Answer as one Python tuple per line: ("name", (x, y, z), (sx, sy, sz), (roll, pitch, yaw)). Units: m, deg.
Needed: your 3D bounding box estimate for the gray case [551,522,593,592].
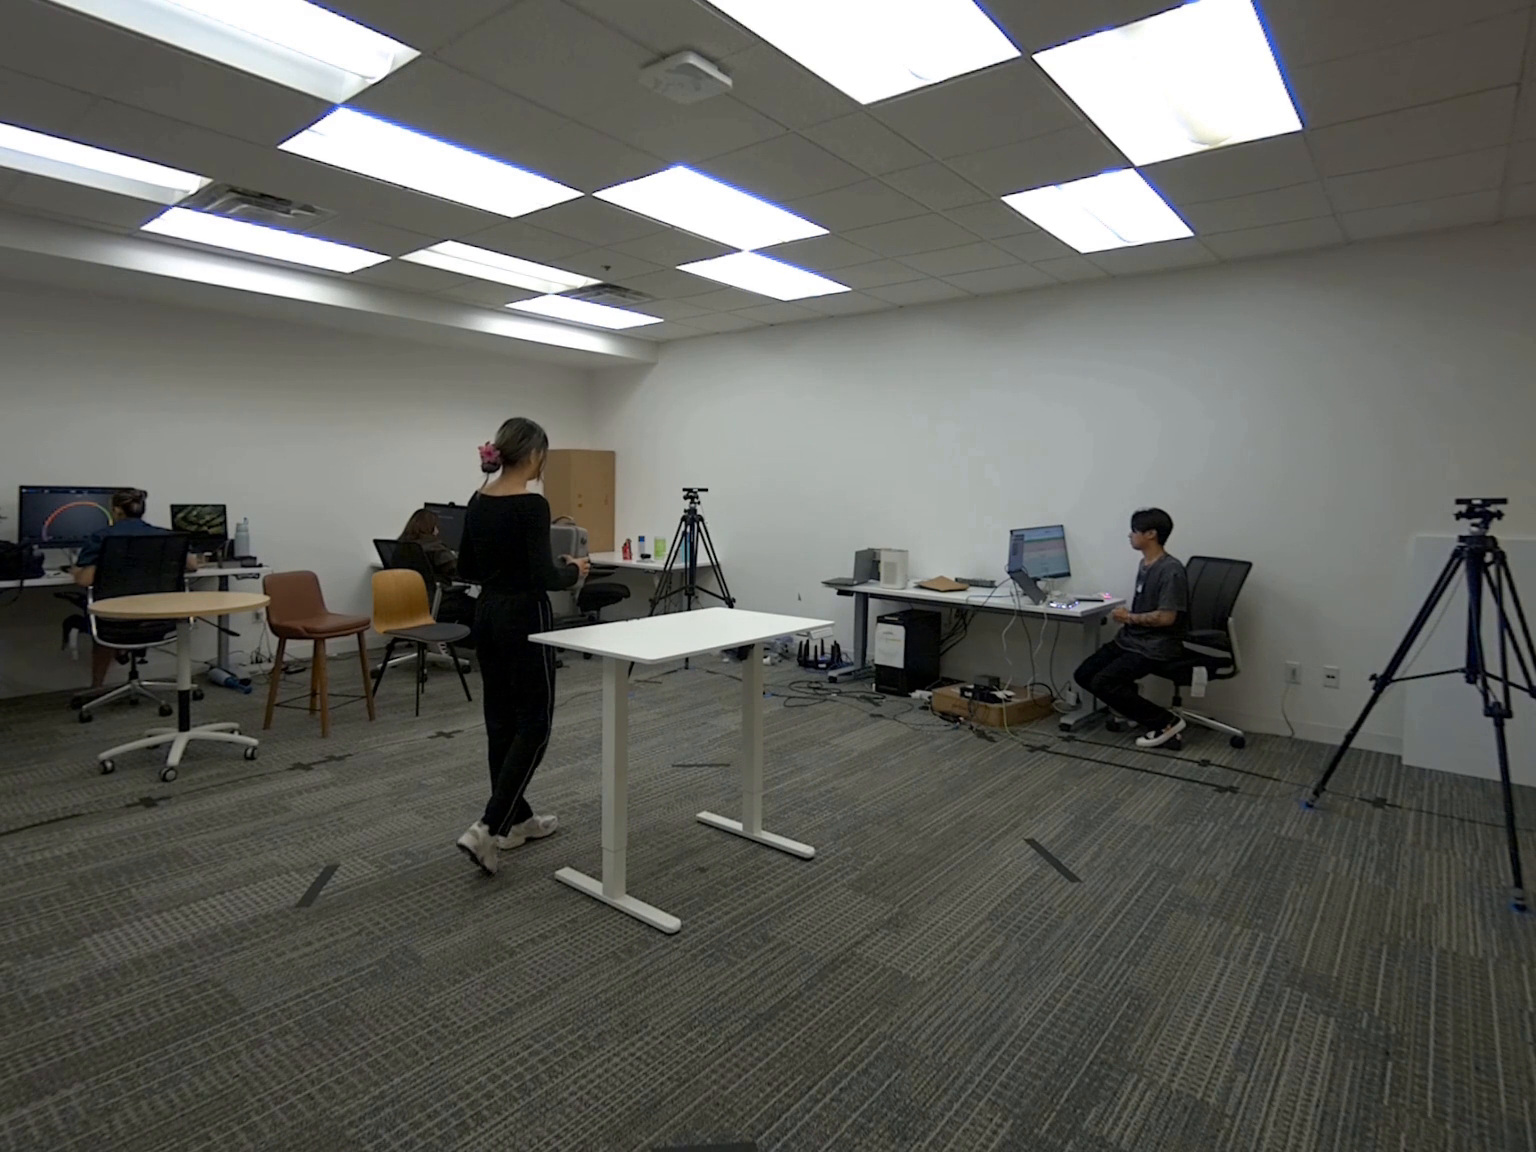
("gray case", (-0.862, -0.082, 3.430), (0.265, 0.262, 0.101), (3, -5, 35))
